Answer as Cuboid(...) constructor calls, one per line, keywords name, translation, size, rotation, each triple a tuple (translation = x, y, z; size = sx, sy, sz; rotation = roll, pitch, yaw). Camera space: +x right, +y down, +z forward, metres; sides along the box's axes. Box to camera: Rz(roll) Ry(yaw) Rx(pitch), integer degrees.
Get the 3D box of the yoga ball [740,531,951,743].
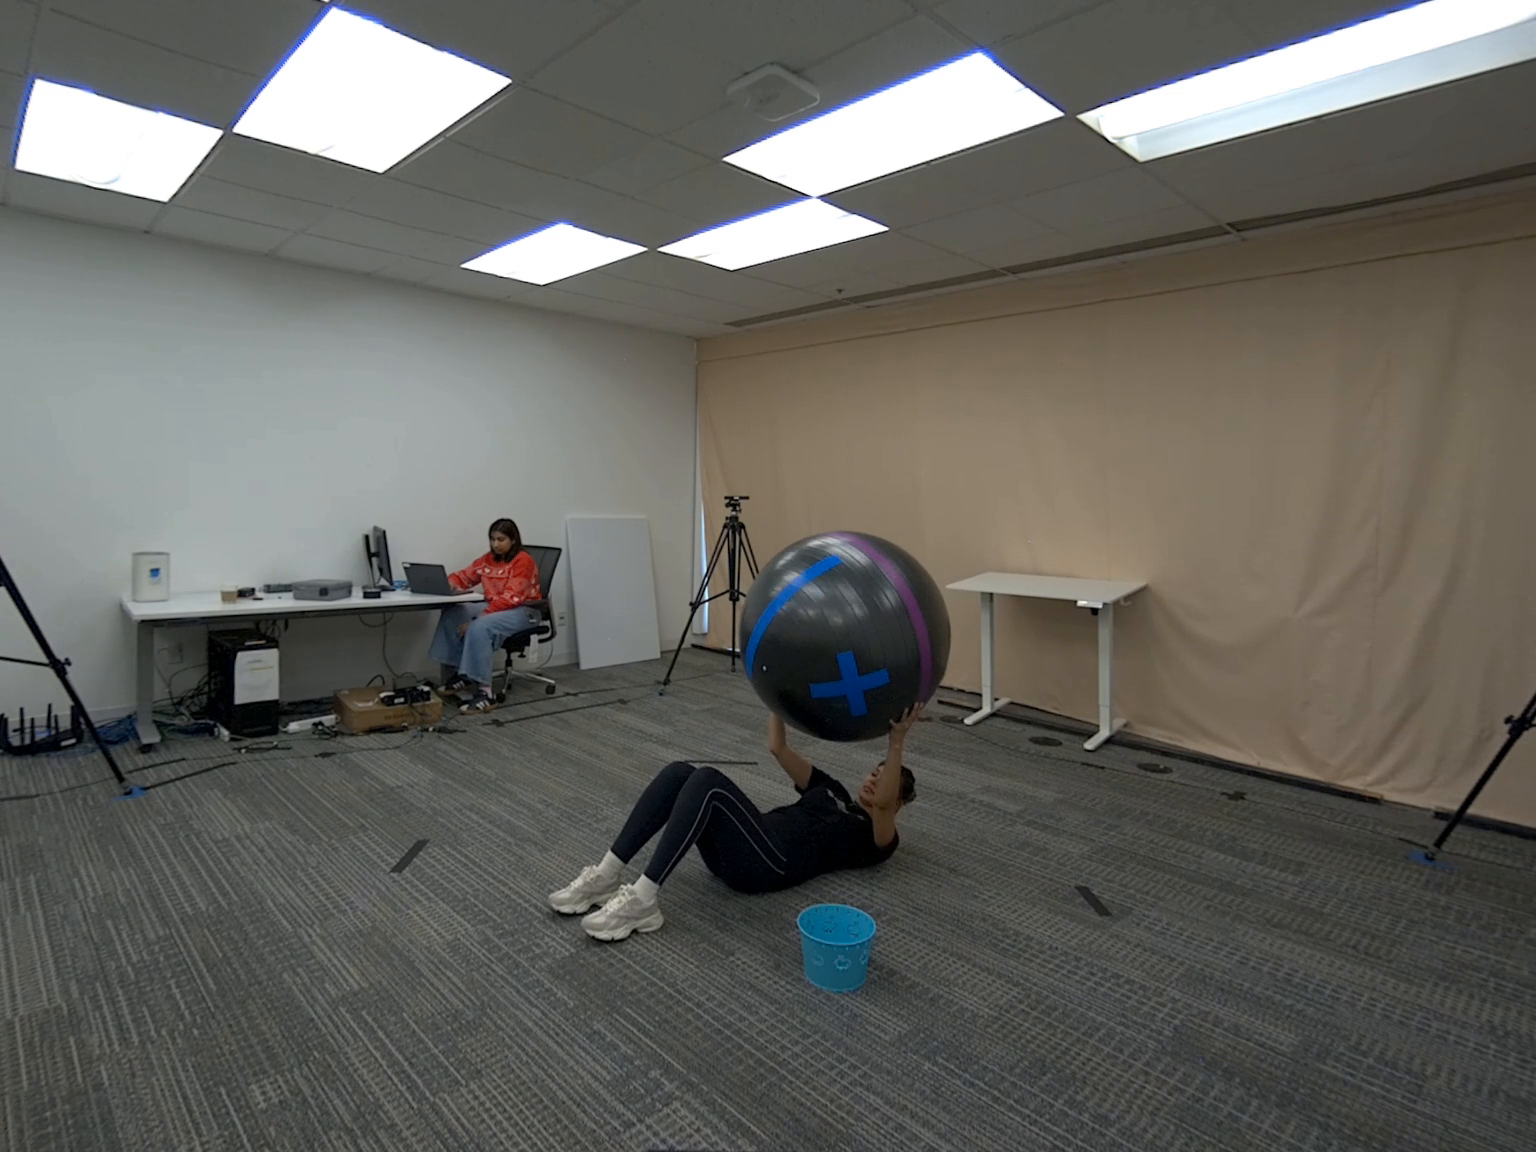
Cuboid(name="yoga ball", translation=(0.269, 0.223, 3.042), size=(0.757, 0.754, 0.762), rotation=(0, 7, -1))
